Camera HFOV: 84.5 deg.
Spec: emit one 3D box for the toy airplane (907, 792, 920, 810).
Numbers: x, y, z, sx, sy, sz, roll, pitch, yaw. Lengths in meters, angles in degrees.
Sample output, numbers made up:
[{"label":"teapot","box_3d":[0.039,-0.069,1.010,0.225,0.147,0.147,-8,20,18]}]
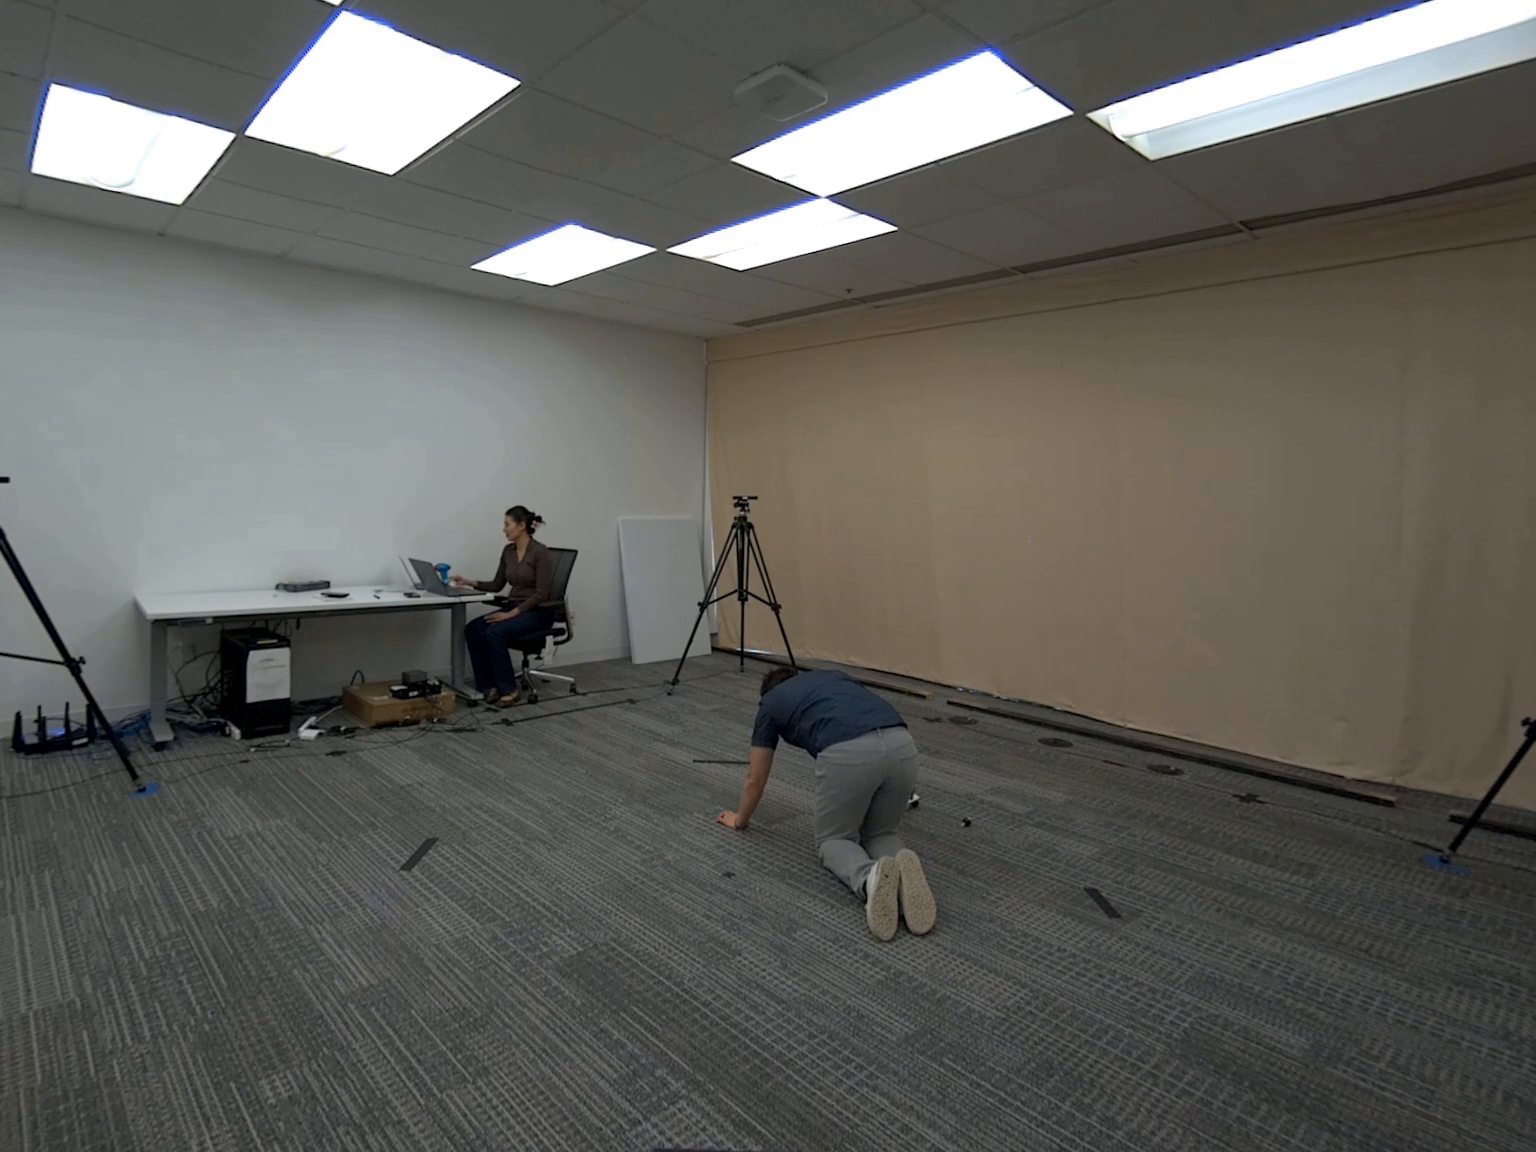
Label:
[{"label":"toy airplane","box_3d":[0.575,0.987,3.910,0.263,0.156,0.249,2,8,18]}]
